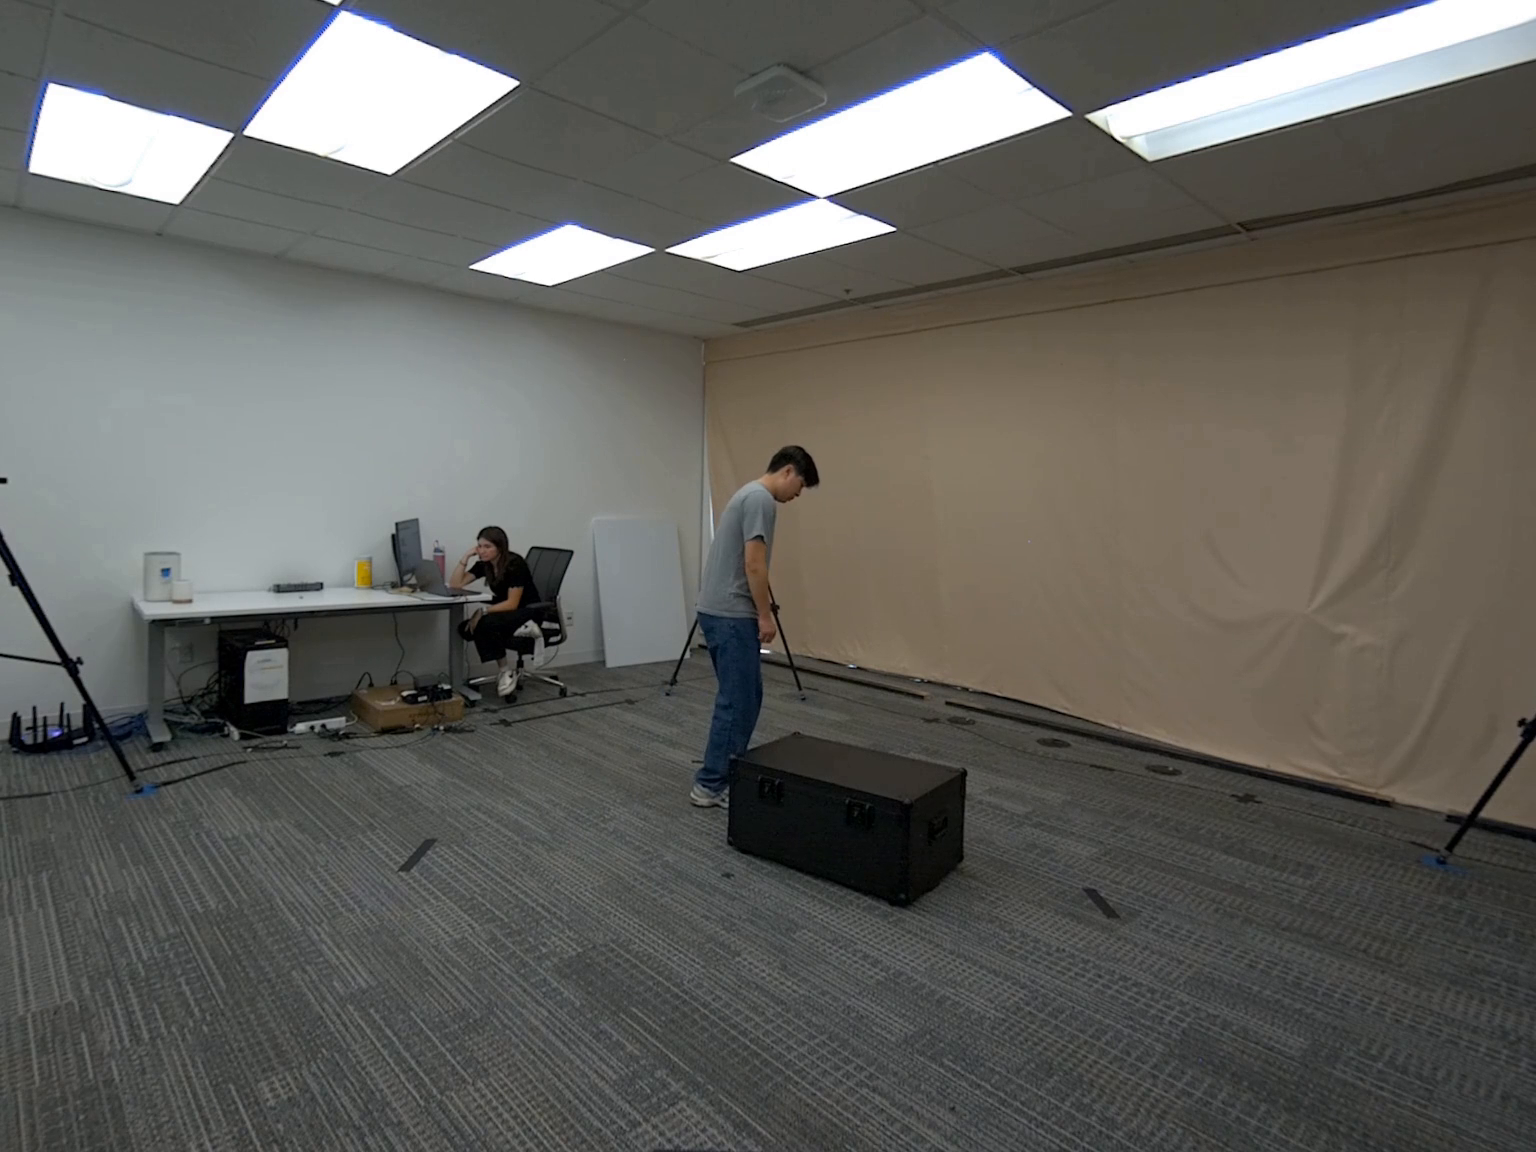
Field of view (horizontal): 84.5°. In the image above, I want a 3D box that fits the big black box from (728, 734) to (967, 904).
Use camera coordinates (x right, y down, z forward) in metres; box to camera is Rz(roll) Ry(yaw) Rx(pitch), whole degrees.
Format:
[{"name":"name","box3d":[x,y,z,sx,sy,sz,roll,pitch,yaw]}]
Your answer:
[{"name":"big black box","box3d":[0.265,0.908,3.290,0.882,0.395,0.510,5,6,37]}]
